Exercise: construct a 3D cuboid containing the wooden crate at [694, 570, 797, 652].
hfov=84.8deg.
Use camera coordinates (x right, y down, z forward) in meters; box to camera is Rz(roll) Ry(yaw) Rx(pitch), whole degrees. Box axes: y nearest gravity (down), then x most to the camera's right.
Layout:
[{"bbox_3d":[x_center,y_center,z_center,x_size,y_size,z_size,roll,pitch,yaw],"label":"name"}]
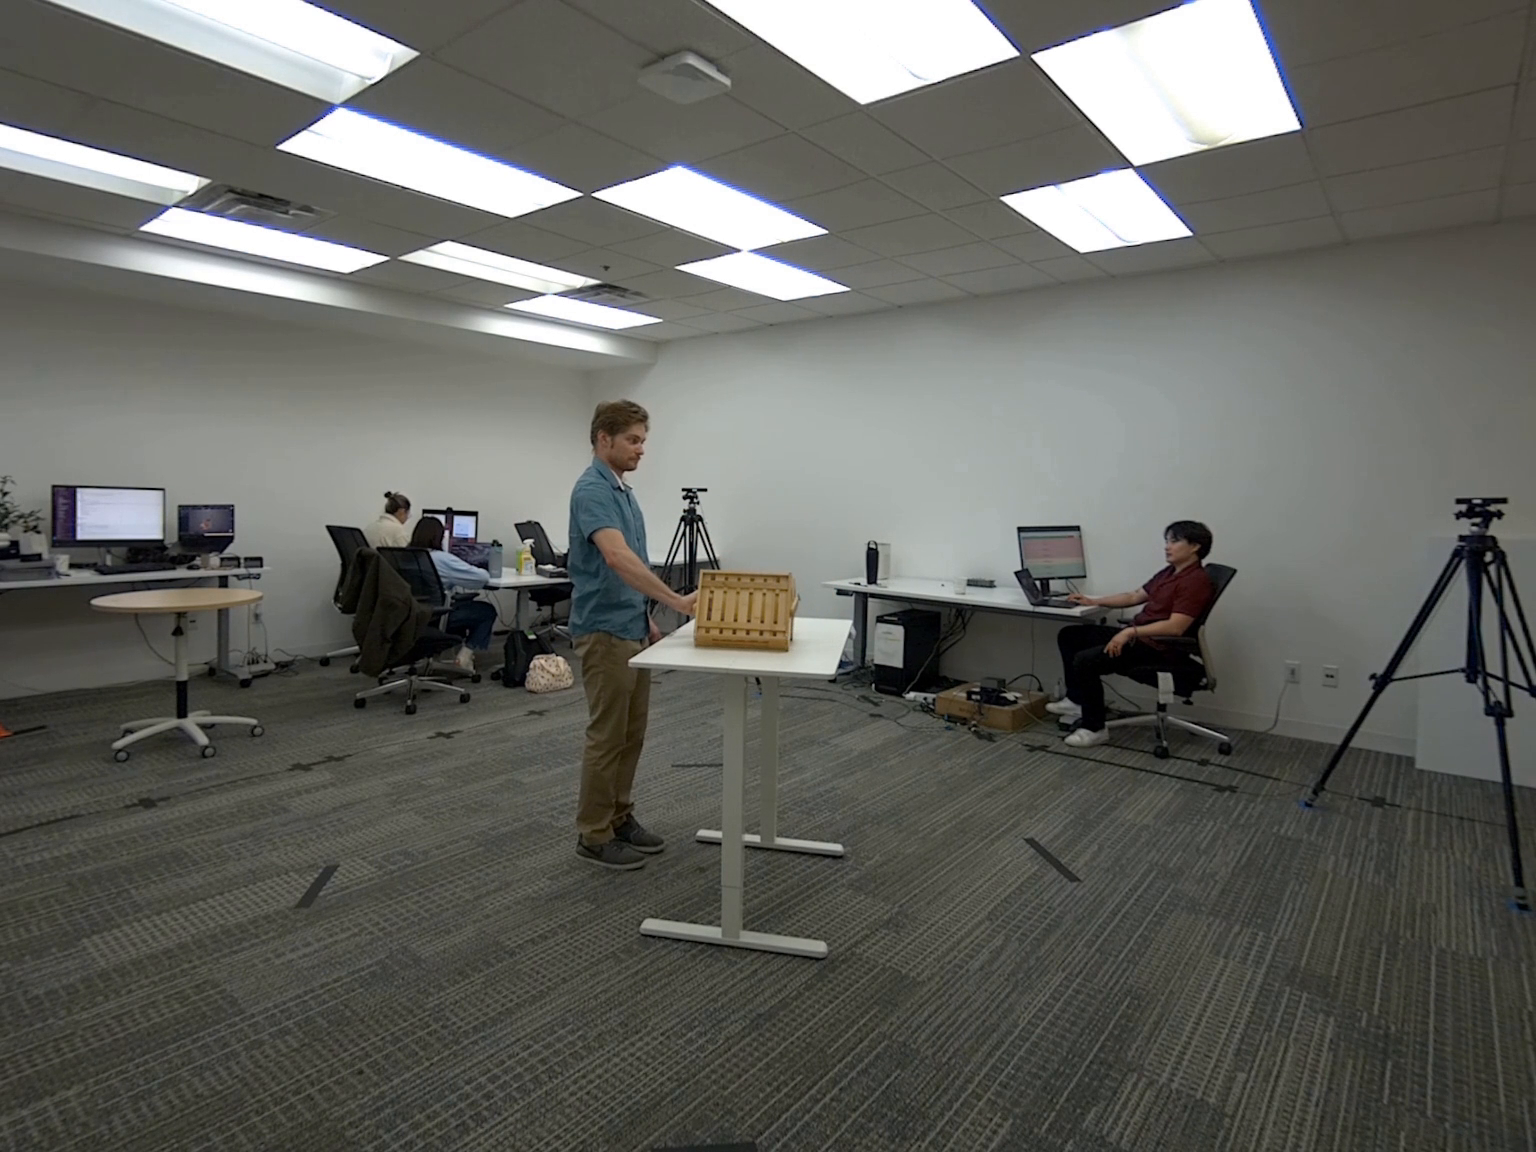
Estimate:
[{"bbox_3d":[-0.074,0.123,2.848,0.327,0.308,0.266,1,-22,7],"label":"wooden crate"}]
